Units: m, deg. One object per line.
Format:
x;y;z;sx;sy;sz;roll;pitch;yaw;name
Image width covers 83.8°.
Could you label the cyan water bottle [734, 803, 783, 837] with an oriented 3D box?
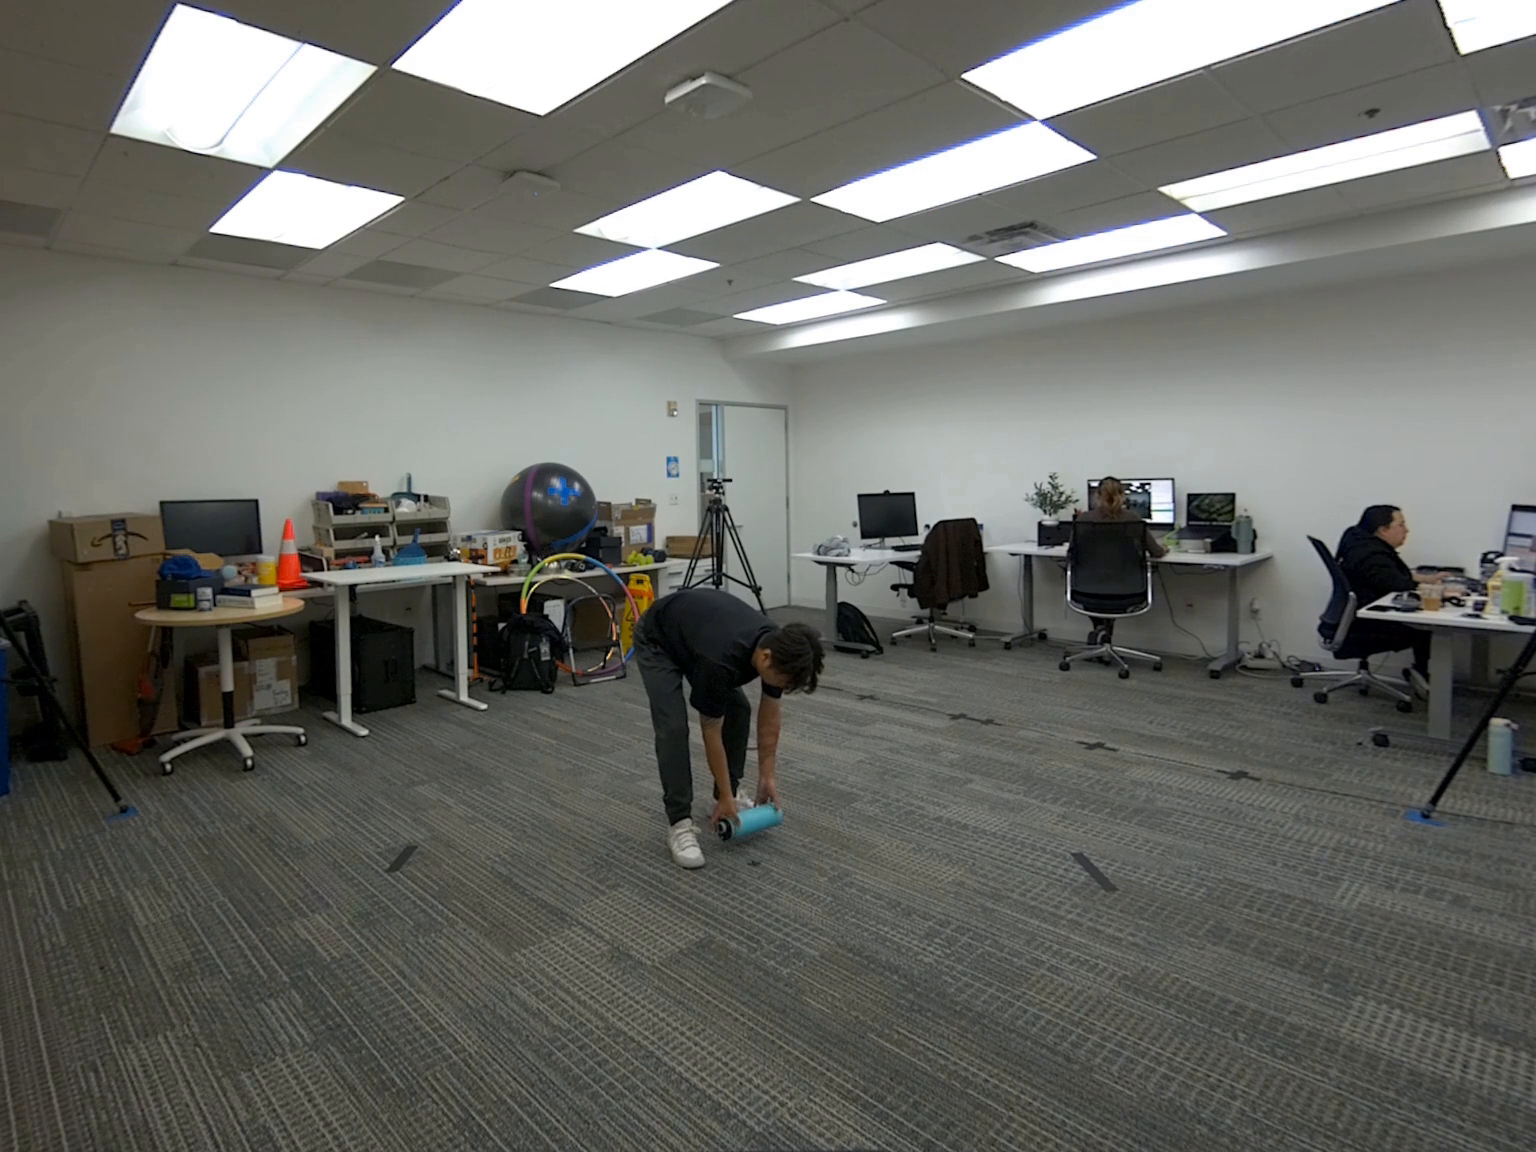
-0.078;0.949;3.265;0.276;0.092;0.095;-7;7;-40;cyan water bottle
